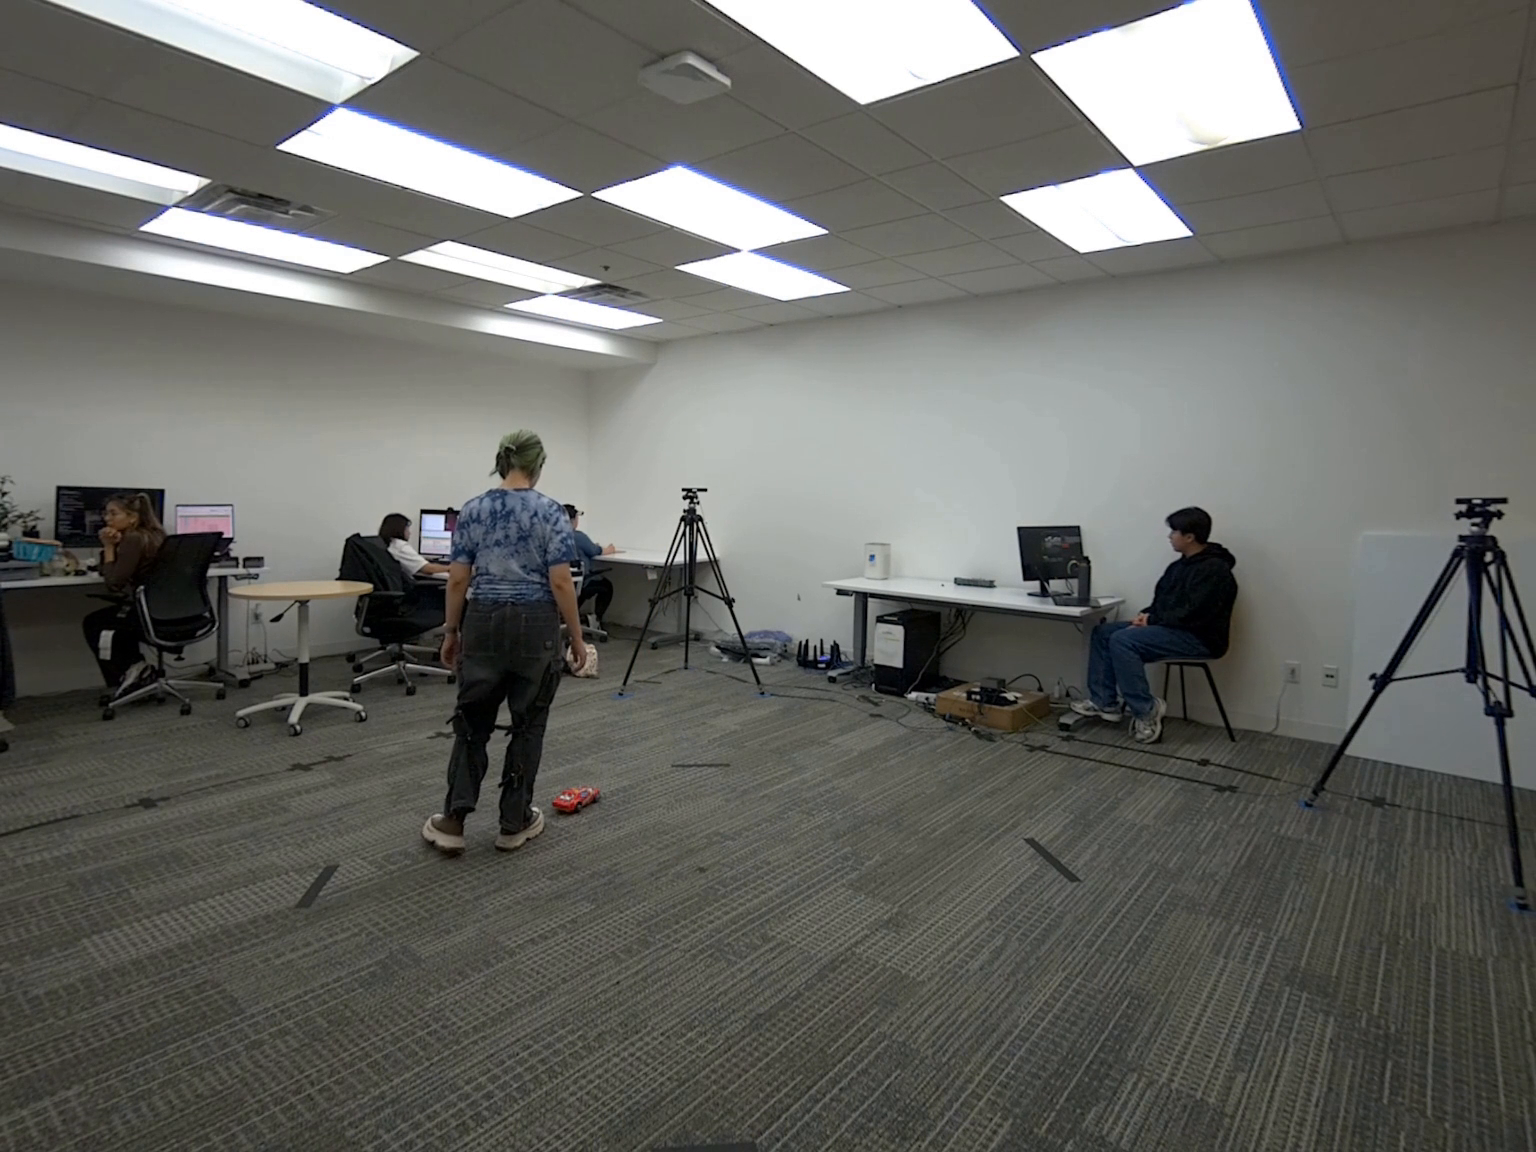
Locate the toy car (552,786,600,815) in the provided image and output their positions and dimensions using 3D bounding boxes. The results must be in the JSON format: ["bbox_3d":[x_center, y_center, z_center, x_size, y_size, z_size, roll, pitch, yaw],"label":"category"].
[{"bbox_3d":[-0.857,0.972,3.705,0.134,0.083,0.247,4,-4,25],"label":"toy car"}]
